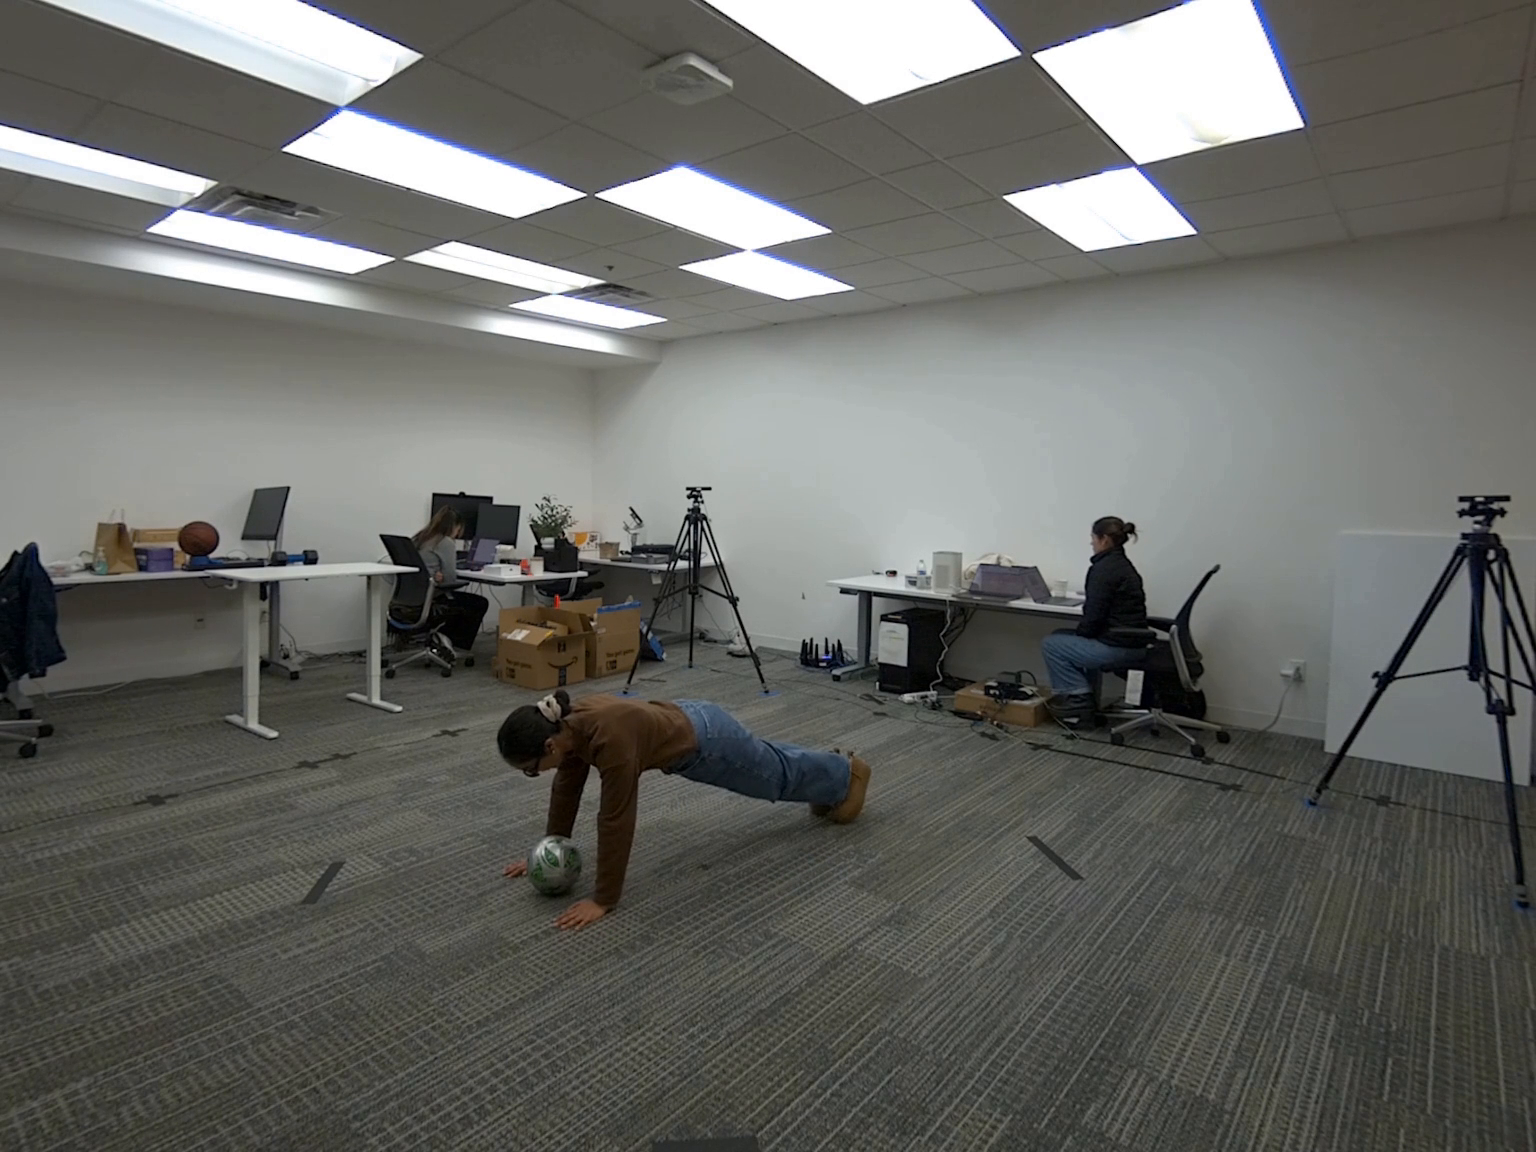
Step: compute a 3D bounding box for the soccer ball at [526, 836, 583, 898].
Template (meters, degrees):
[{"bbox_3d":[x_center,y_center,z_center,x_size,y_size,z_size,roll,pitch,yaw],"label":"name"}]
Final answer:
[{"bbox_3d":[-0.744,0.988,2.905,0.187,0.187,0.188,1,4,-2],"label":"soccer ball"}]
